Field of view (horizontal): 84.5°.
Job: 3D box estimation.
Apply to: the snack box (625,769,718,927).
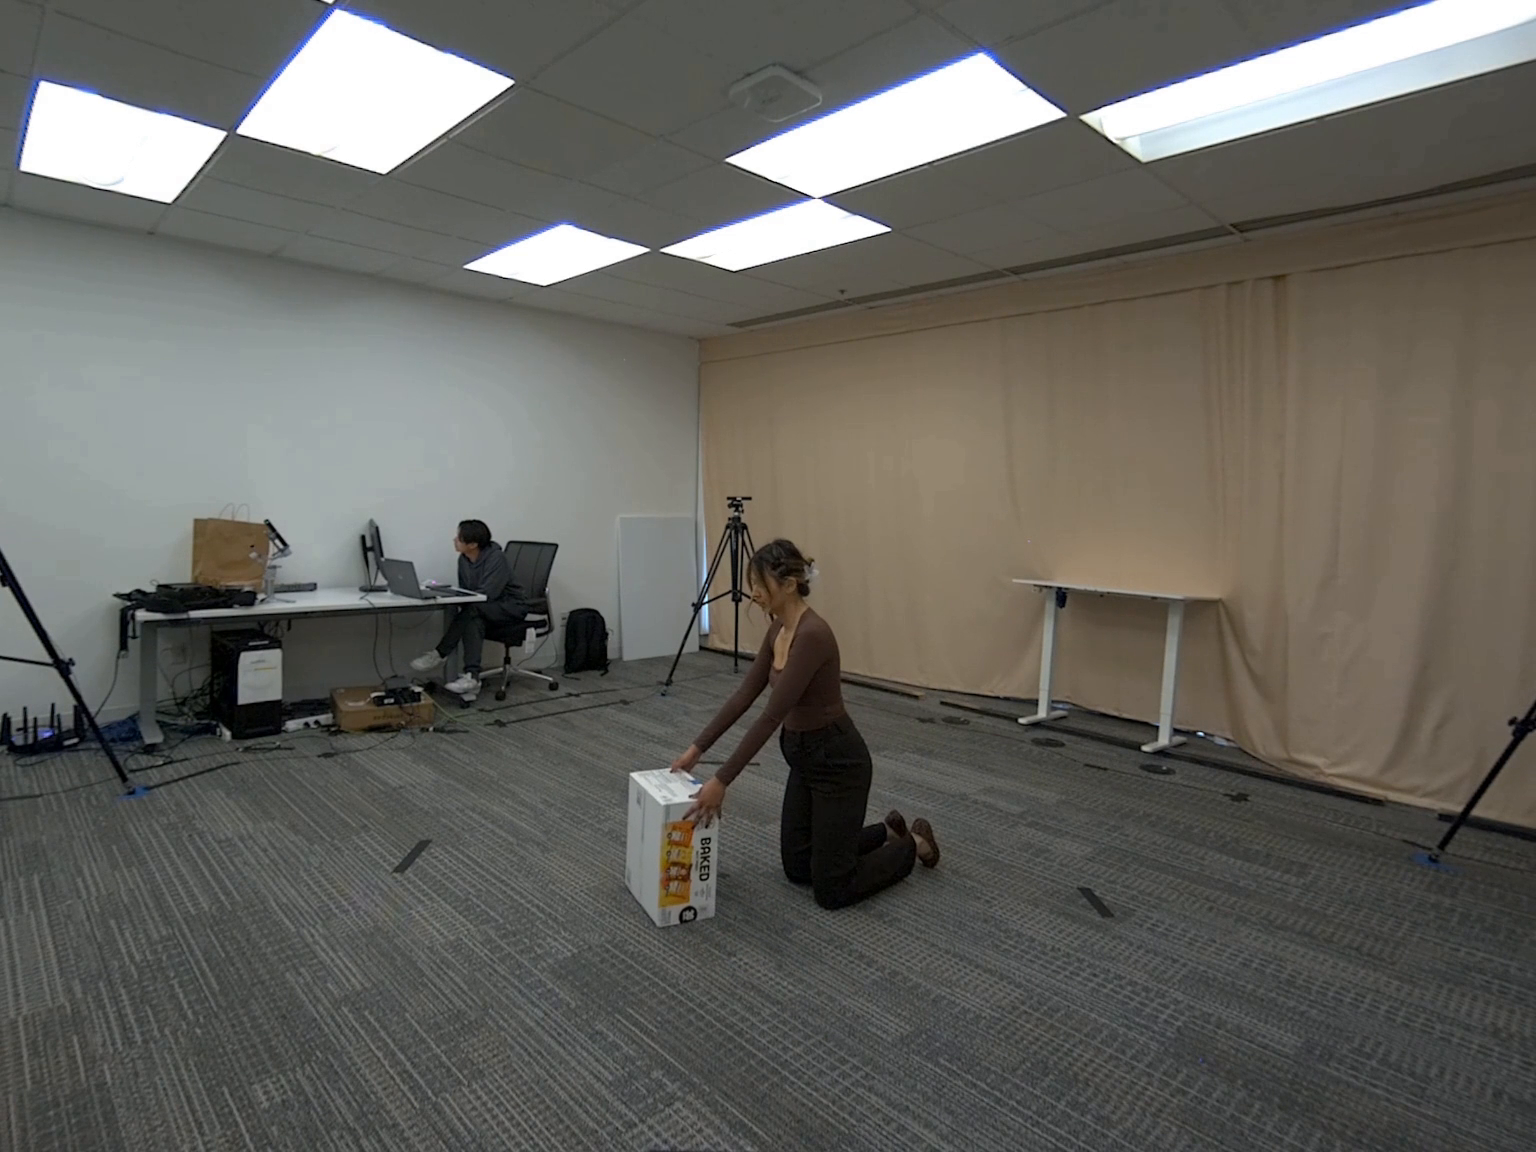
[{"bbox_3d":[-0.338,0.914,2.897,0.202,0.404,0.348,1,4,-28],"label":"snack box"}]
